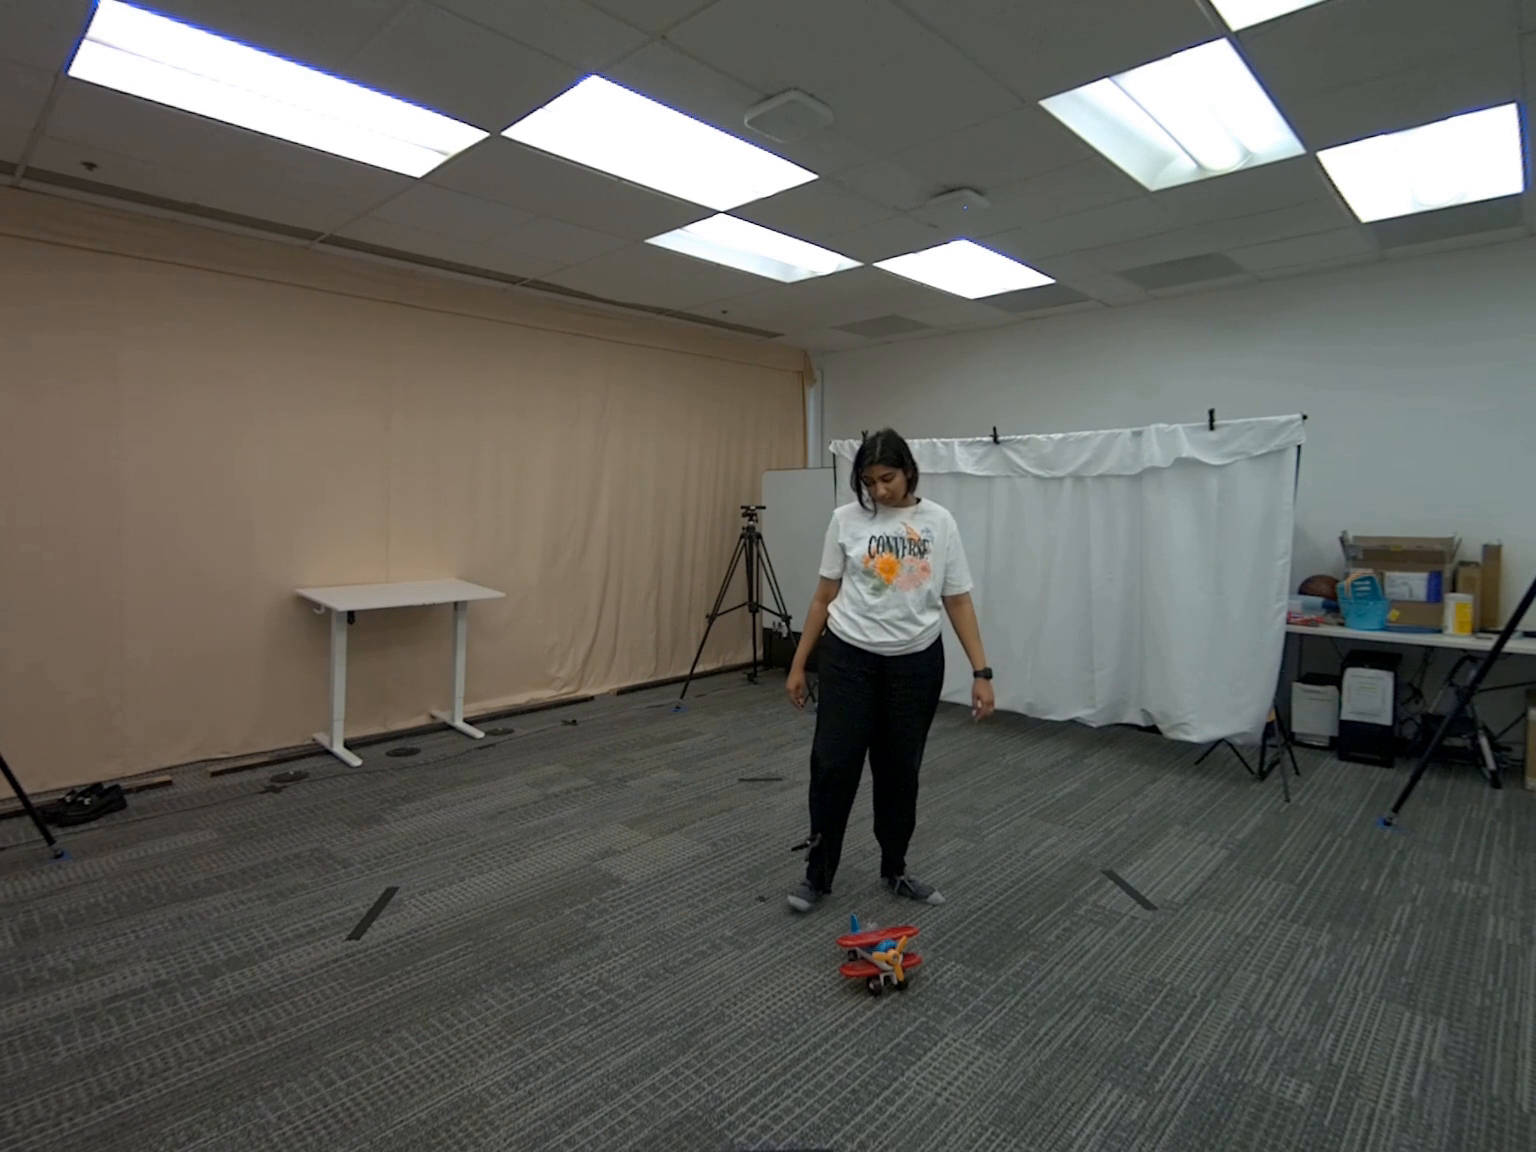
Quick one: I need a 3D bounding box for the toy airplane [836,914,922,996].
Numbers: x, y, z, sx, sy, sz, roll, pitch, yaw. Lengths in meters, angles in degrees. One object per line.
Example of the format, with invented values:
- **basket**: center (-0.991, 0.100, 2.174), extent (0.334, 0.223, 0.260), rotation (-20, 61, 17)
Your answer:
- **toy airplane**: center (0.306, 1.114, 2.475), extent (0.268, 0.156, 0.243), rotation (5, 7, 43)
